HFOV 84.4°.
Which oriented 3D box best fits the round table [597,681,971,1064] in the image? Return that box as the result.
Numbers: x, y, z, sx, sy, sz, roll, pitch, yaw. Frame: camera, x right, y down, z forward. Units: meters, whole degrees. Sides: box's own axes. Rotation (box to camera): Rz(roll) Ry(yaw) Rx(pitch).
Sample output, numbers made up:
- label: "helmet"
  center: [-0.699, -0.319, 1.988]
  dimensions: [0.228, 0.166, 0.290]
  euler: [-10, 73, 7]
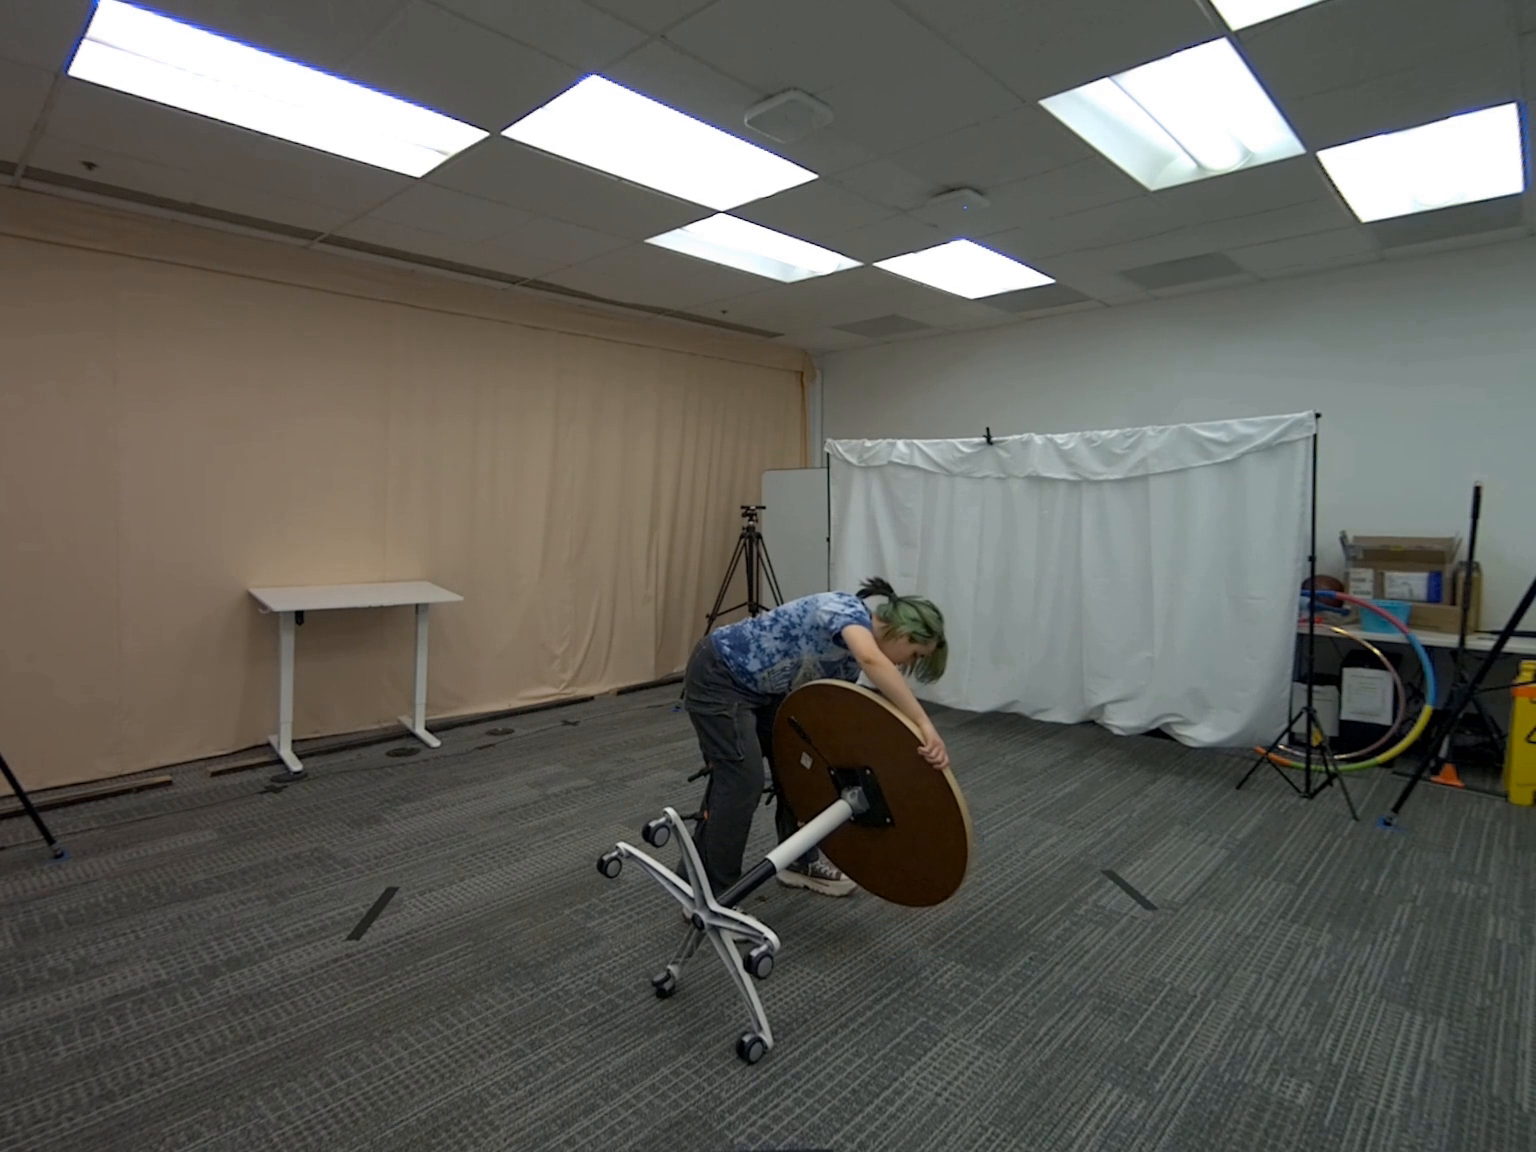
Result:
- label: "round table"
  center: [0.036, 0.809, 2.422]
  dimensions: [0.777, 0.755, 0.789]
  euler: [-23, 18, -38]
